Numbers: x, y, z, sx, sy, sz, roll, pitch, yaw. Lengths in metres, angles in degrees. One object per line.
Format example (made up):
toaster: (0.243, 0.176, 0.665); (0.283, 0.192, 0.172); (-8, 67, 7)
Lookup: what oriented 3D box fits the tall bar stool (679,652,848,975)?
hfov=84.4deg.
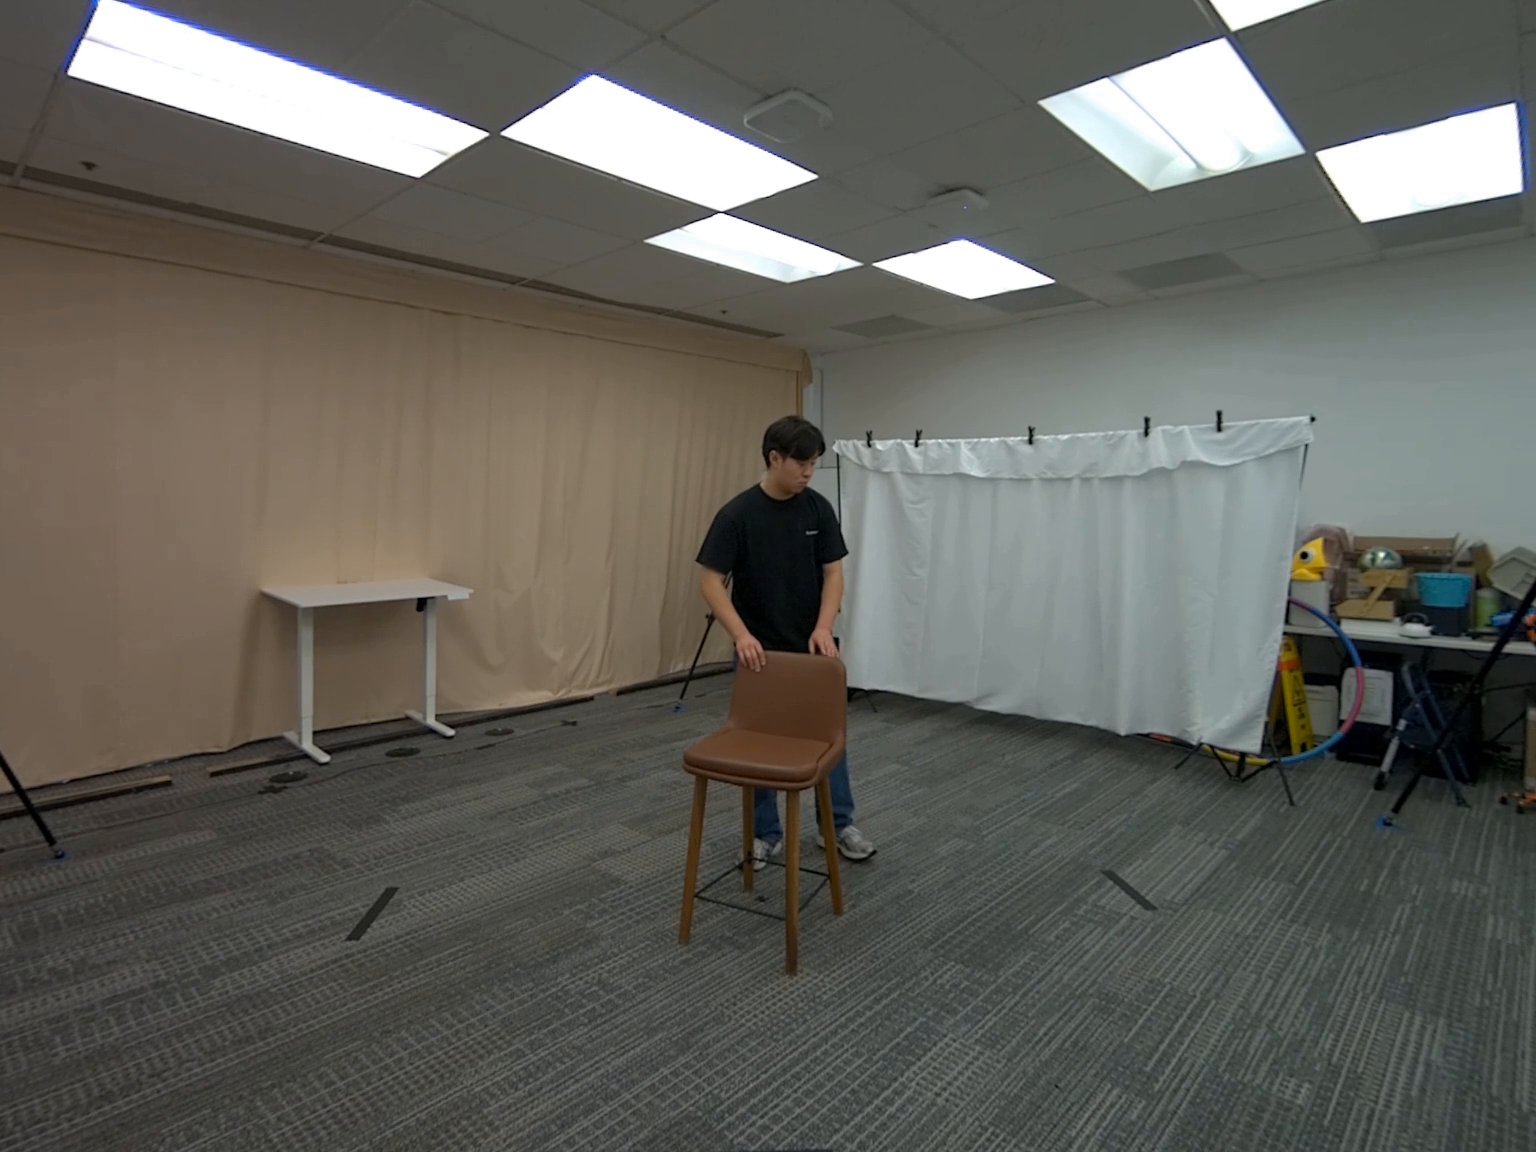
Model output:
tall bar stool: (0.002, 0.720, 2.769); (0.469, 0.889, 0.455); (2, 1, 29)
